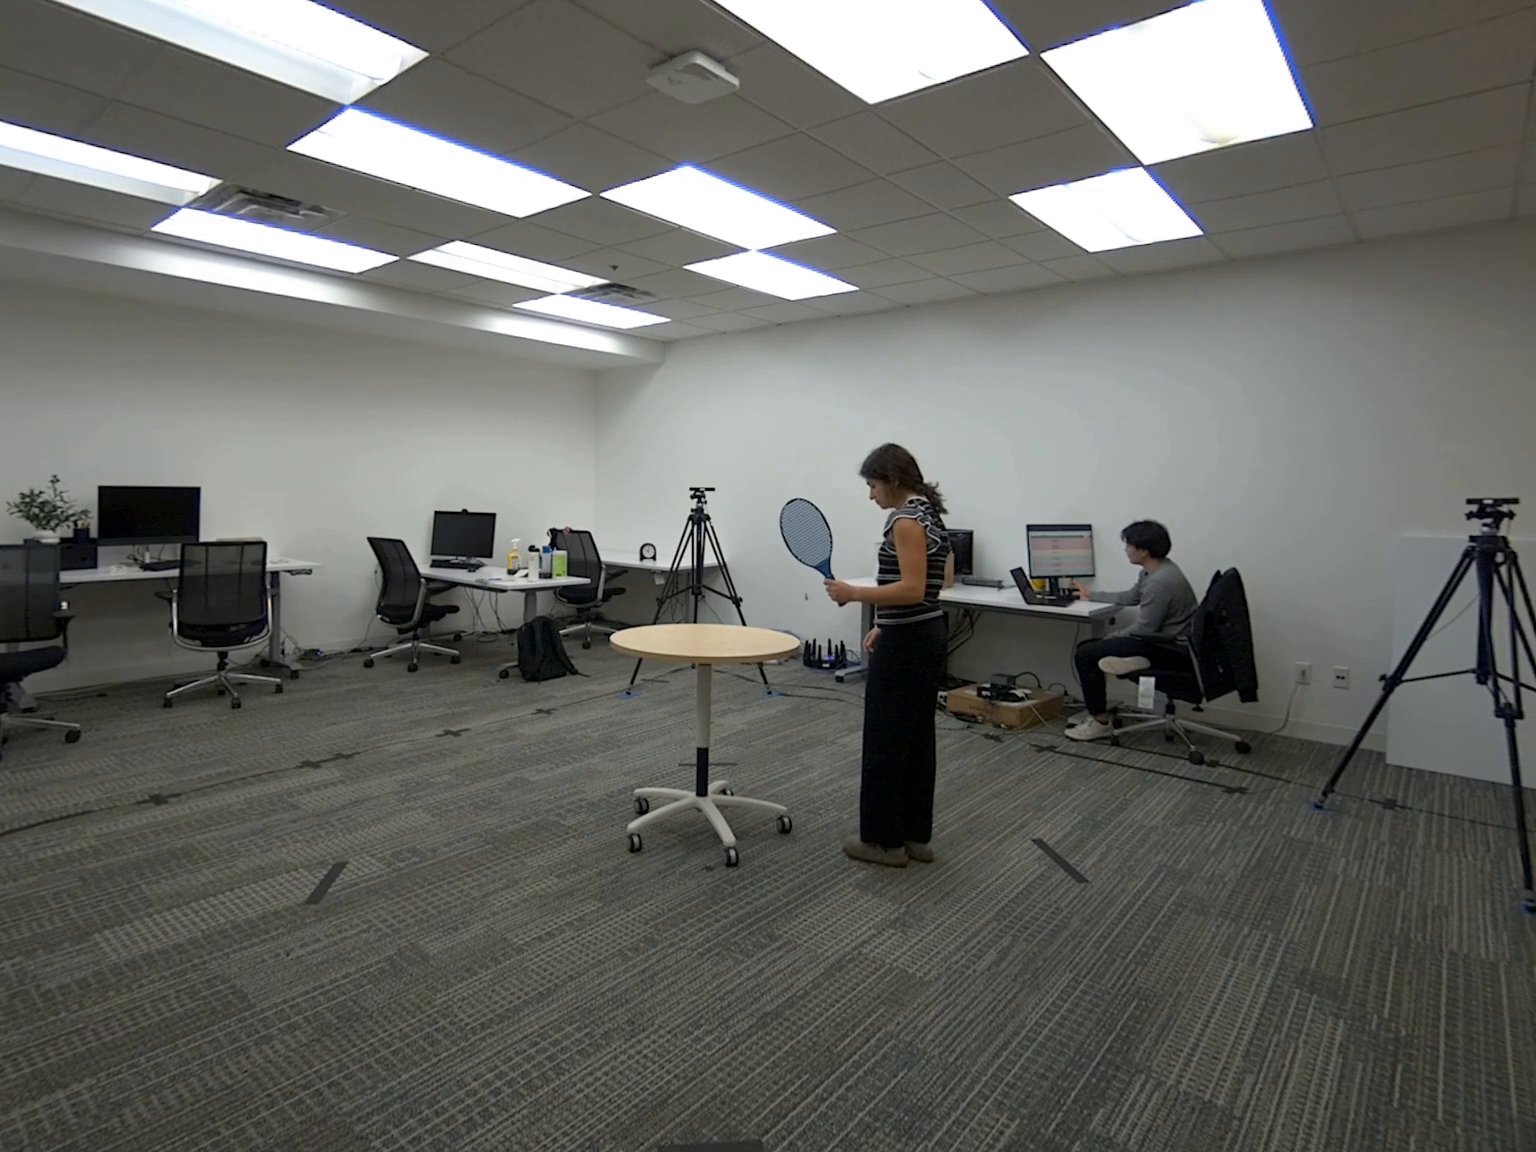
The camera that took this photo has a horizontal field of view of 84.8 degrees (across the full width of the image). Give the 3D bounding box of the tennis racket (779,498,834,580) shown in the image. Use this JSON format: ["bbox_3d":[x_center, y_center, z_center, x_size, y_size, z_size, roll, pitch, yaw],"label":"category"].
[{"bbox_3d":[0.183,-0.095,3.139,0.212,0.429,0.032,-34,7,-31],"label":"tennis racket"}]
